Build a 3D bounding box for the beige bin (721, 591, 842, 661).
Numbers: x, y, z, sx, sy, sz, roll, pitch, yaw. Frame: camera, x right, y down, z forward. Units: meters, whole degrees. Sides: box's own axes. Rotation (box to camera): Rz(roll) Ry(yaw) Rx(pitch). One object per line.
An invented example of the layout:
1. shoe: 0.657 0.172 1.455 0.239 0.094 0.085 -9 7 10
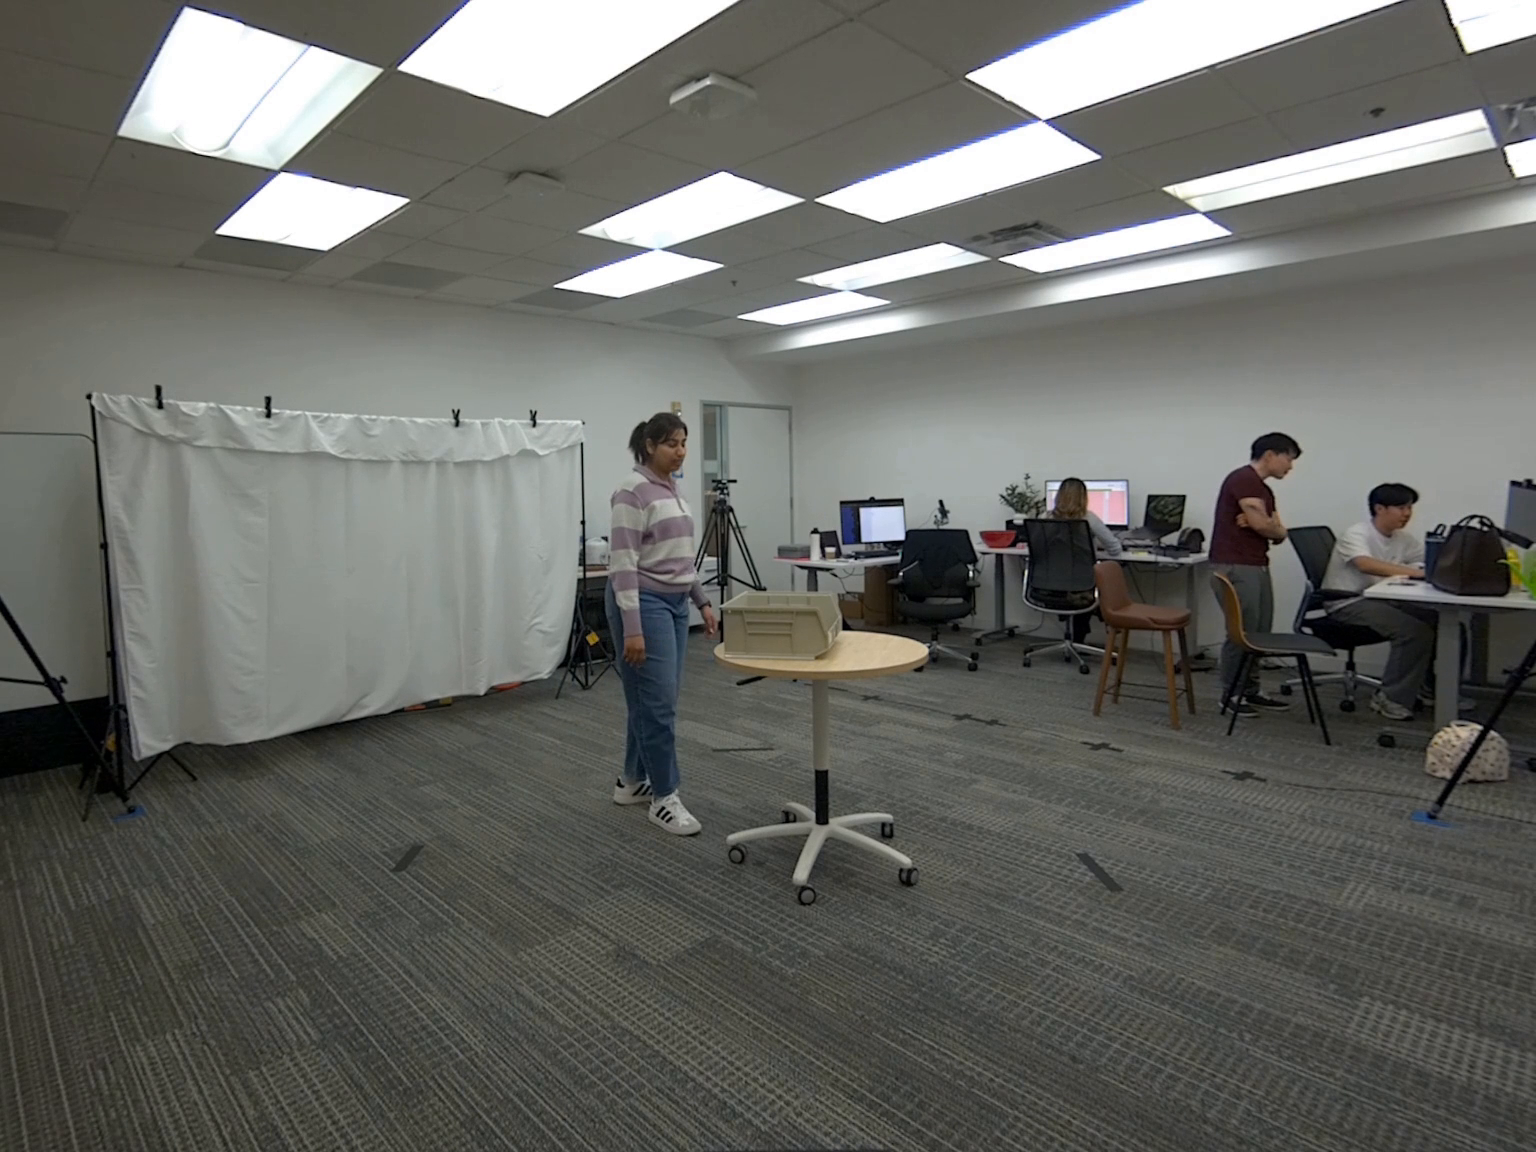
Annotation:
1. beige bin: 0.080 0.173 3.101 0.382 0.188 0.418 -2 5 13
